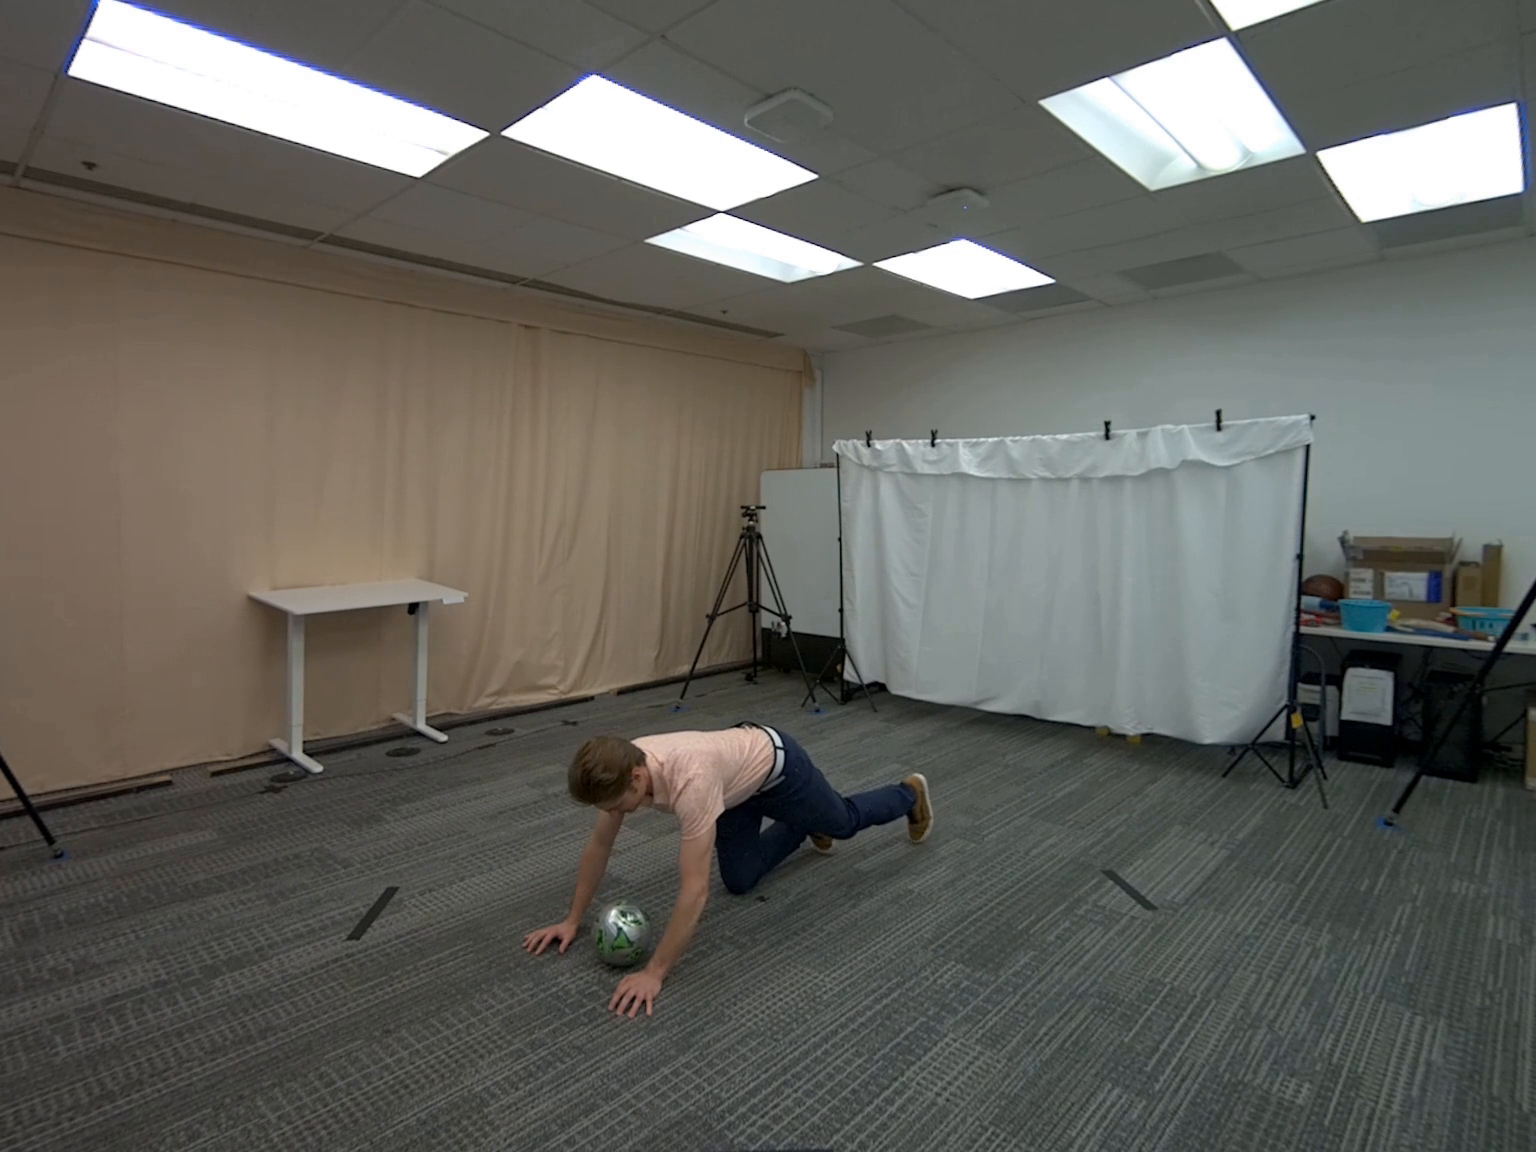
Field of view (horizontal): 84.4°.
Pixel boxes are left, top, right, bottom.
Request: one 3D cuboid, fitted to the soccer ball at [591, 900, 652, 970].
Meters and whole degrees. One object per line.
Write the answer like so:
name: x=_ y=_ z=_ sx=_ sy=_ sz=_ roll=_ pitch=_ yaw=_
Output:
soccer ball: x=-0.449 y=1.093 z=2.566 sx=0.187 sy=0.187 sz=0.188 roll=0 pitch=4 yaw=-2
